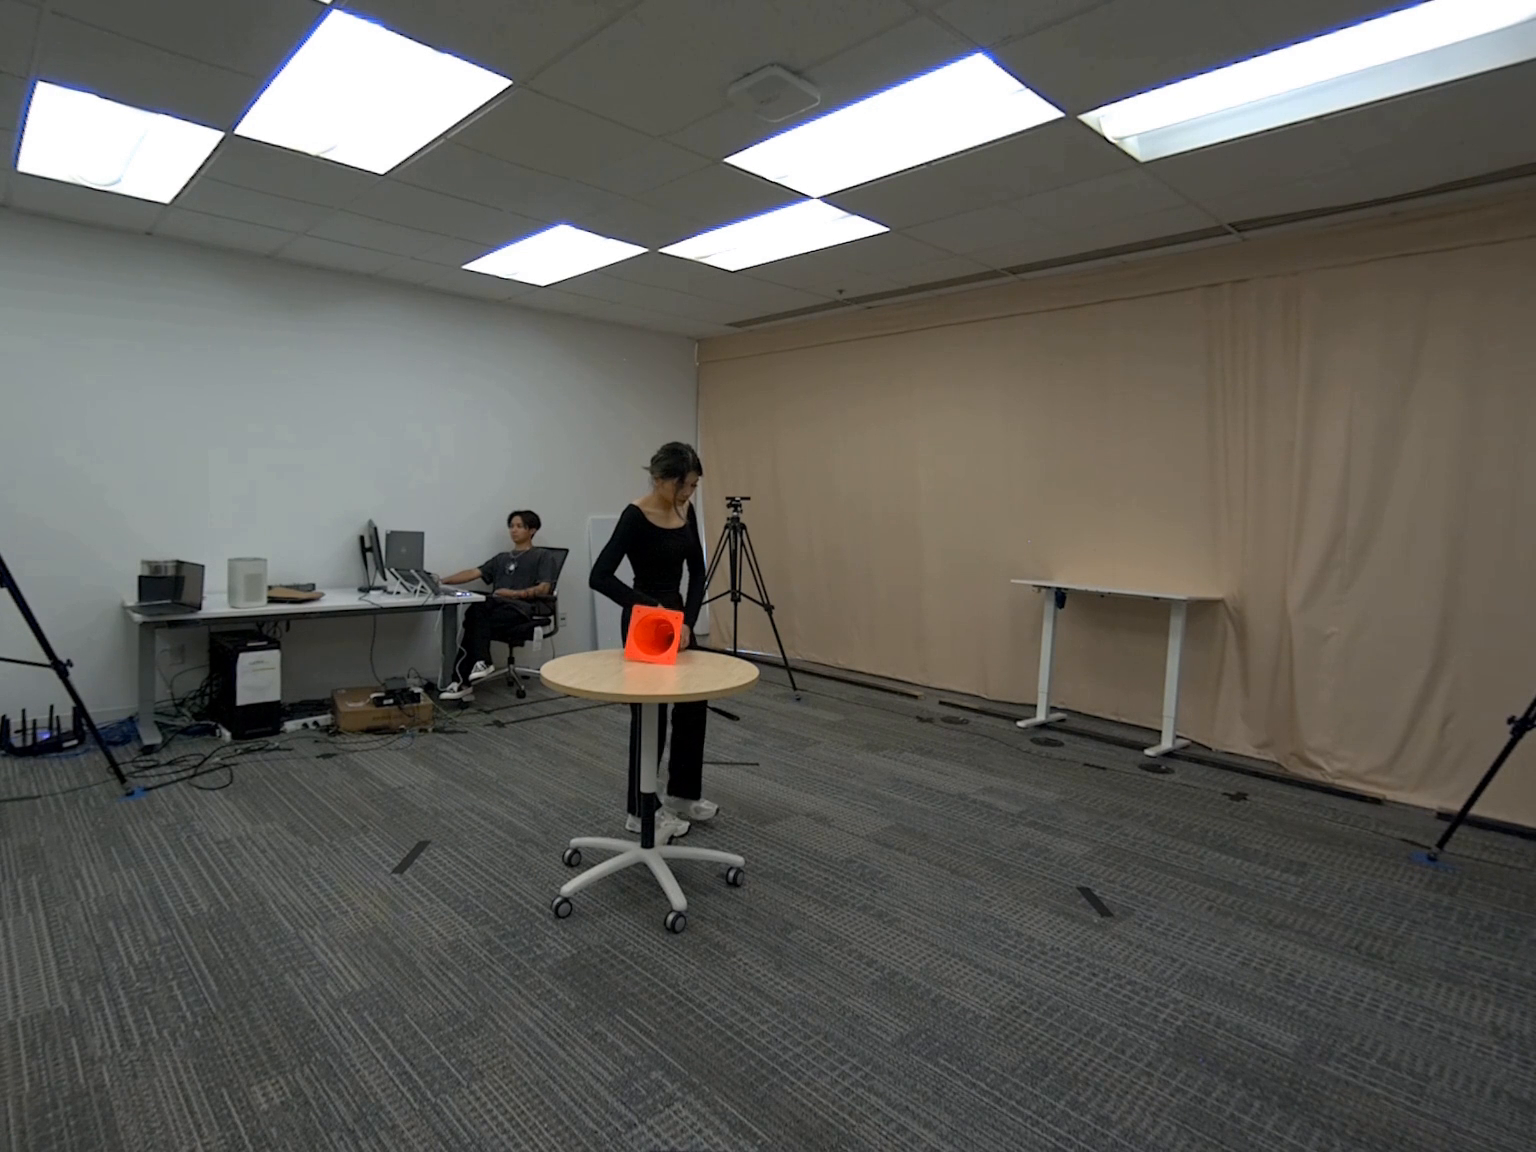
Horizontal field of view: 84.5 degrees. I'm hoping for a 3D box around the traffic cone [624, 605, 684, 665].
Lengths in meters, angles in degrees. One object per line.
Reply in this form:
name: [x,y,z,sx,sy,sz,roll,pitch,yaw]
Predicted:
traffic cone: [-0.410,0.243,3.256,0.207,0.205,0.377,-1,-9,10]
